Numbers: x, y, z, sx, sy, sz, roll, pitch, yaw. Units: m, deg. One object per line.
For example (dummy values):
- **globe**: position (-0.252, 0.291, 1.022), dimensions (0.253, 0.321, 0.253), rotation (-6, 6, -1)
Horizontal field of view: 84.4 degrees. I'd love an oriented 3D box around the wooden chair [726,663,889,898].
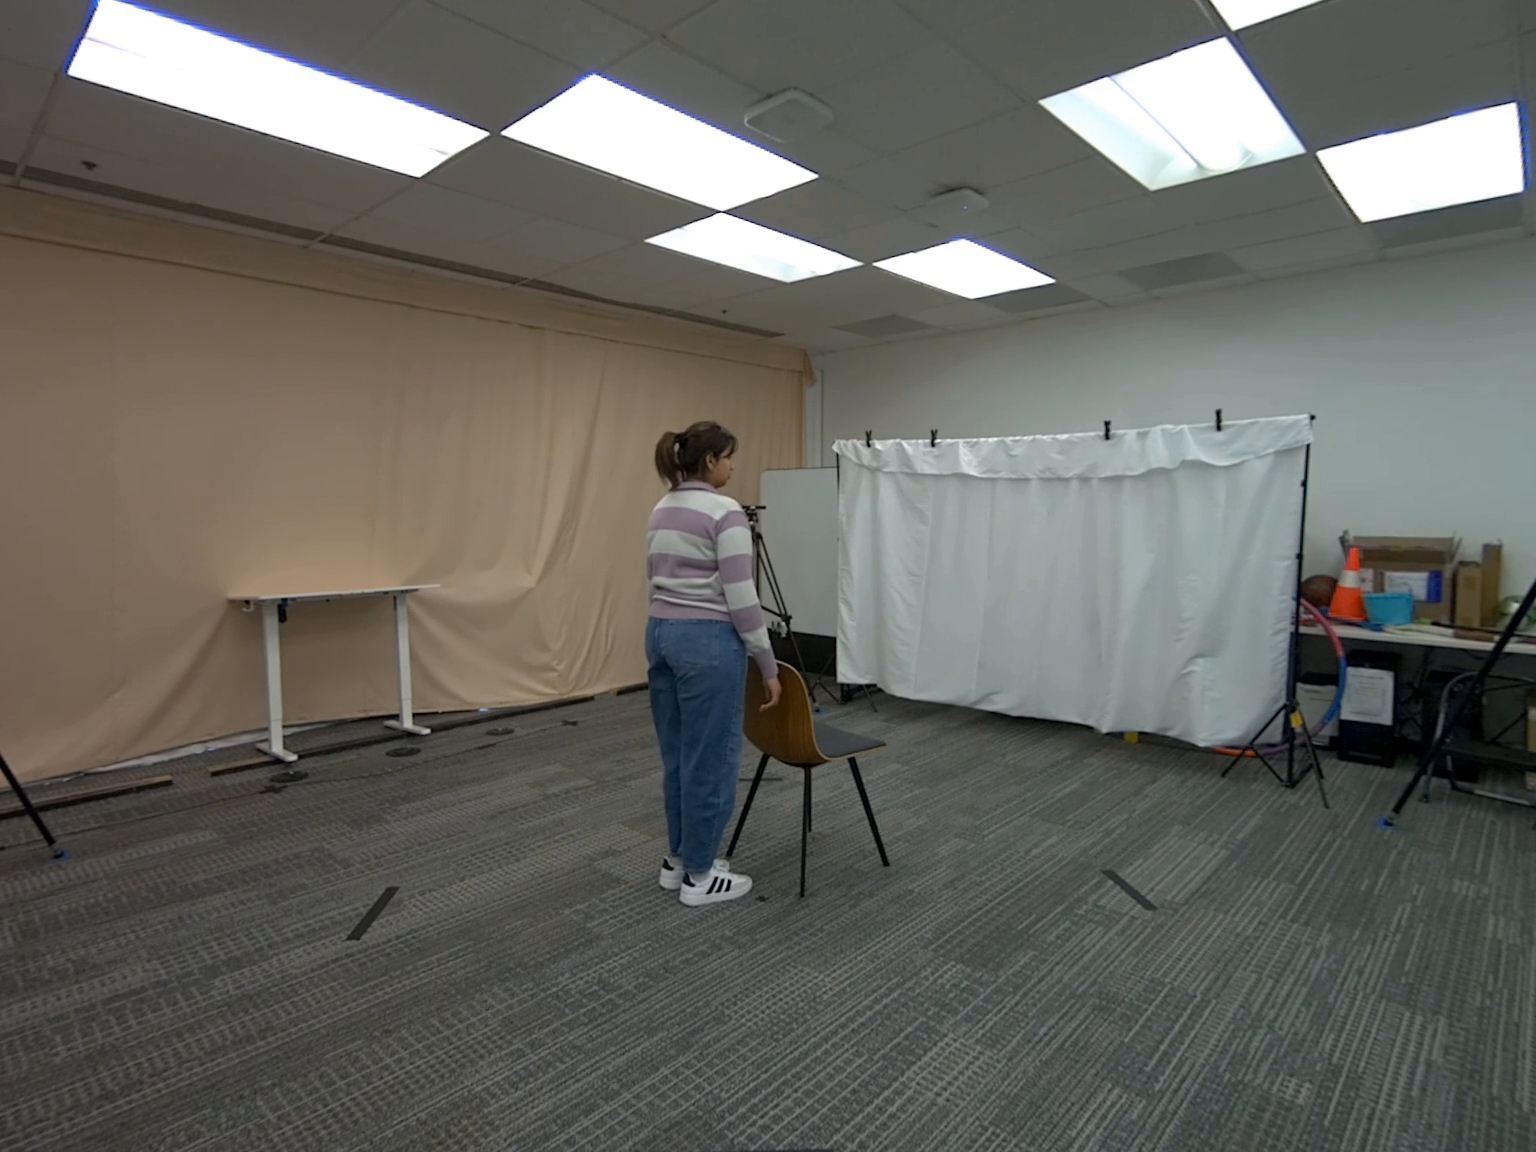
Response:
- **wooden chair**: position (0.162, 0.691, 3.275), dimensions (0.508, 0.874, 0.493), rotation (-8, 7, -38)
